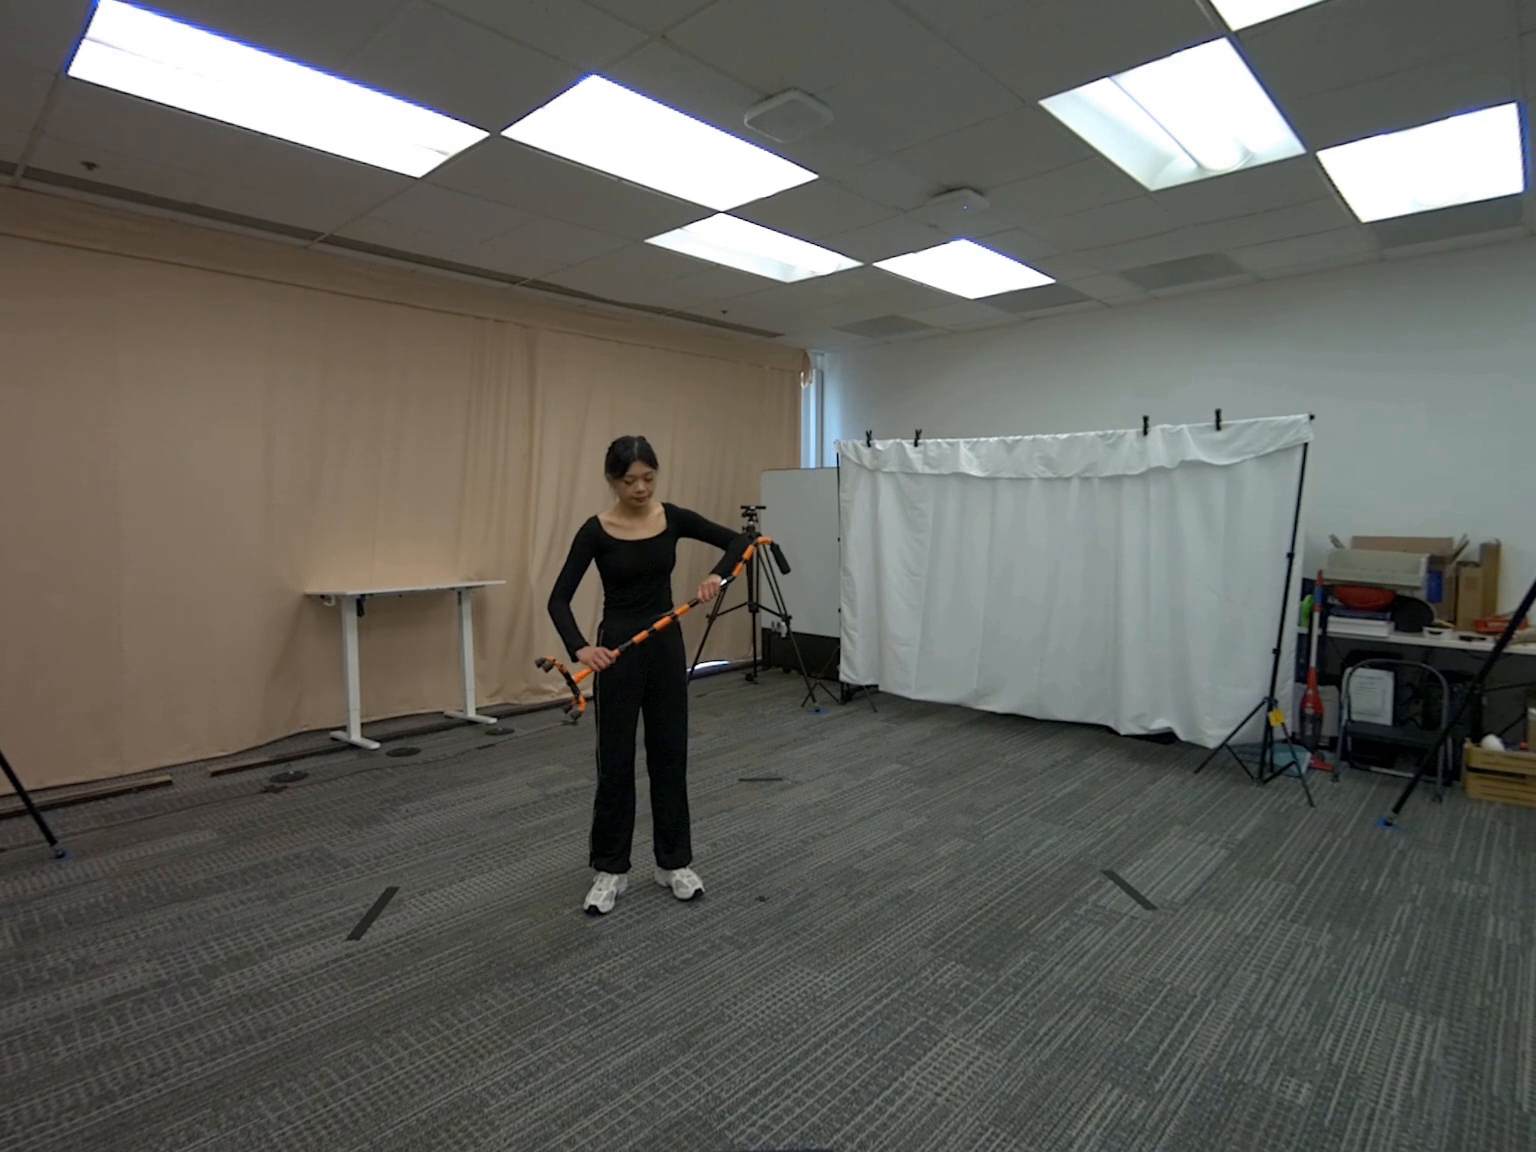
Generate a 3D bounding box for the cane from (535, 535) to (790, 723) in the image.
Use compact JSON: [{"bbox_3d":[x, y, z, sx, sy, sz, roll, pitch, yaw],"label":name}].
[{"bbox_3d":[-0.313,0.142,2.795,0.898,0.204,0.155,-33,10,-20],"label":"cane"}]
